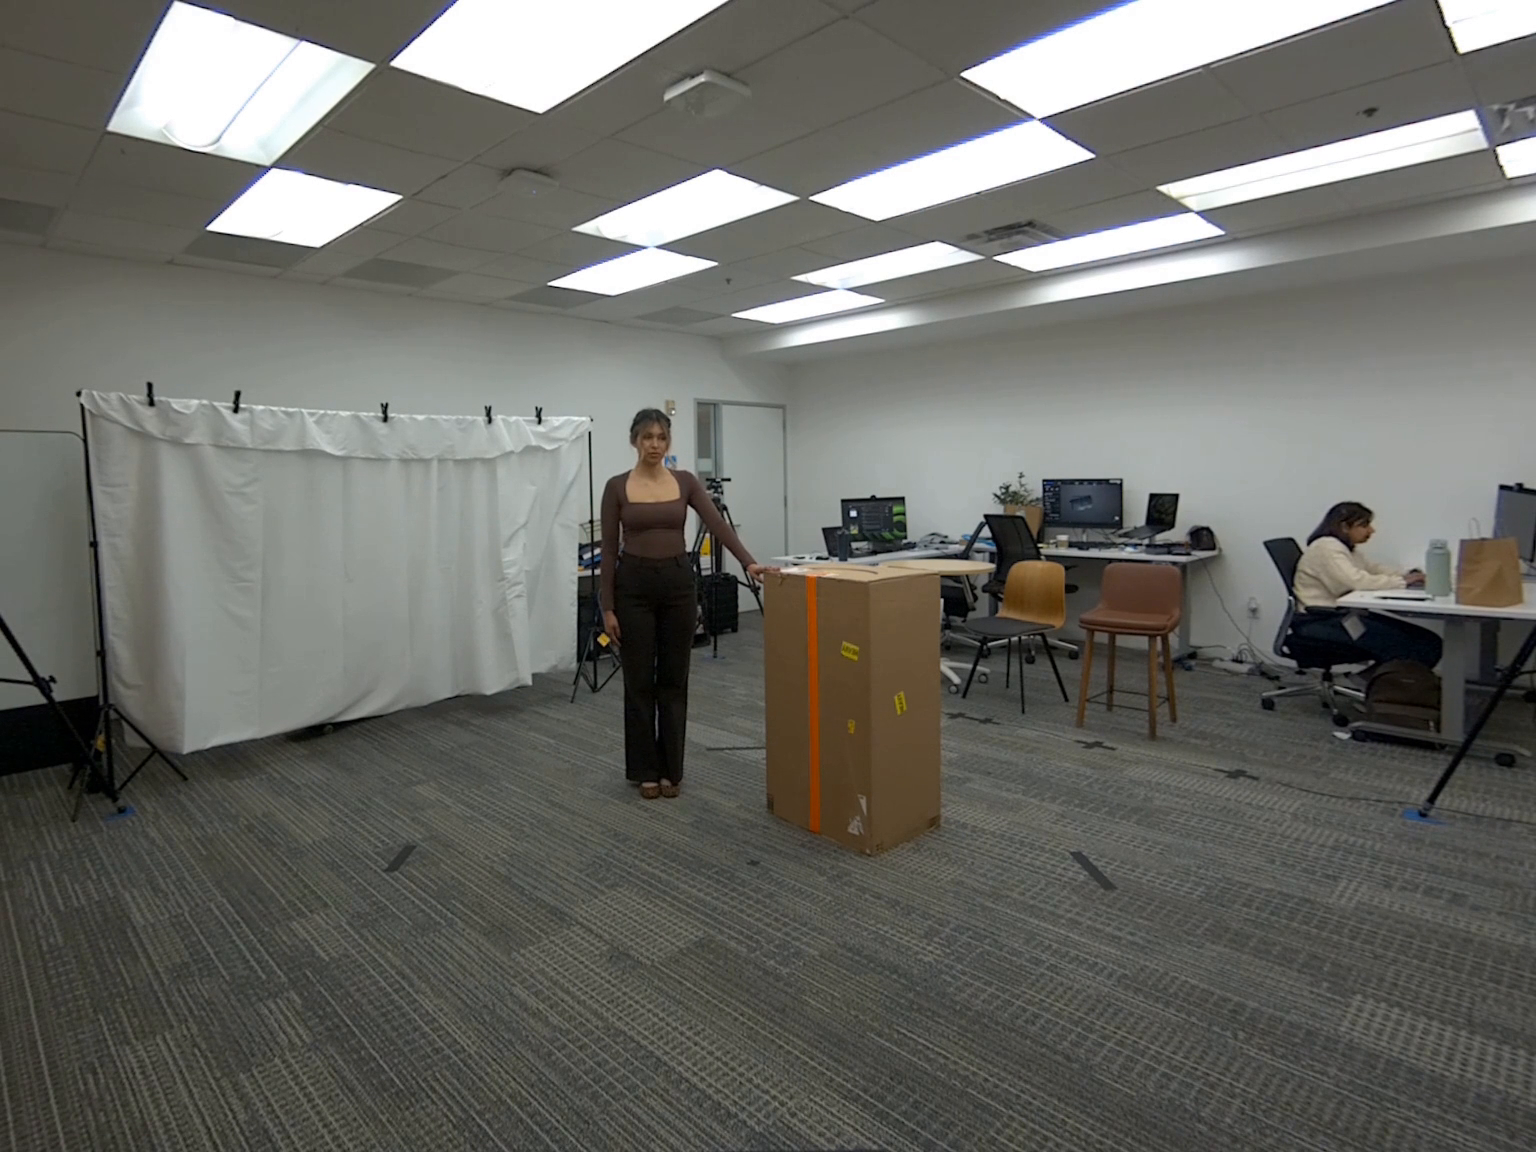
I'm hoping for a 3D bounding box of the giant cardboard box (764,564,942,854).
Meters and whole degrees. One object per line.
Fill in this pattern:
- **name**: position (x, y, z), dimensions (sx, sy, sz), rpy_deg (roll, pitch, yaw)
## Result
- **giant cardboard box**: position (0.335, 0.486, 3.456), dimensions (0.435, 1.023, 0.602), rpy_deg (-5, 6, -39)
